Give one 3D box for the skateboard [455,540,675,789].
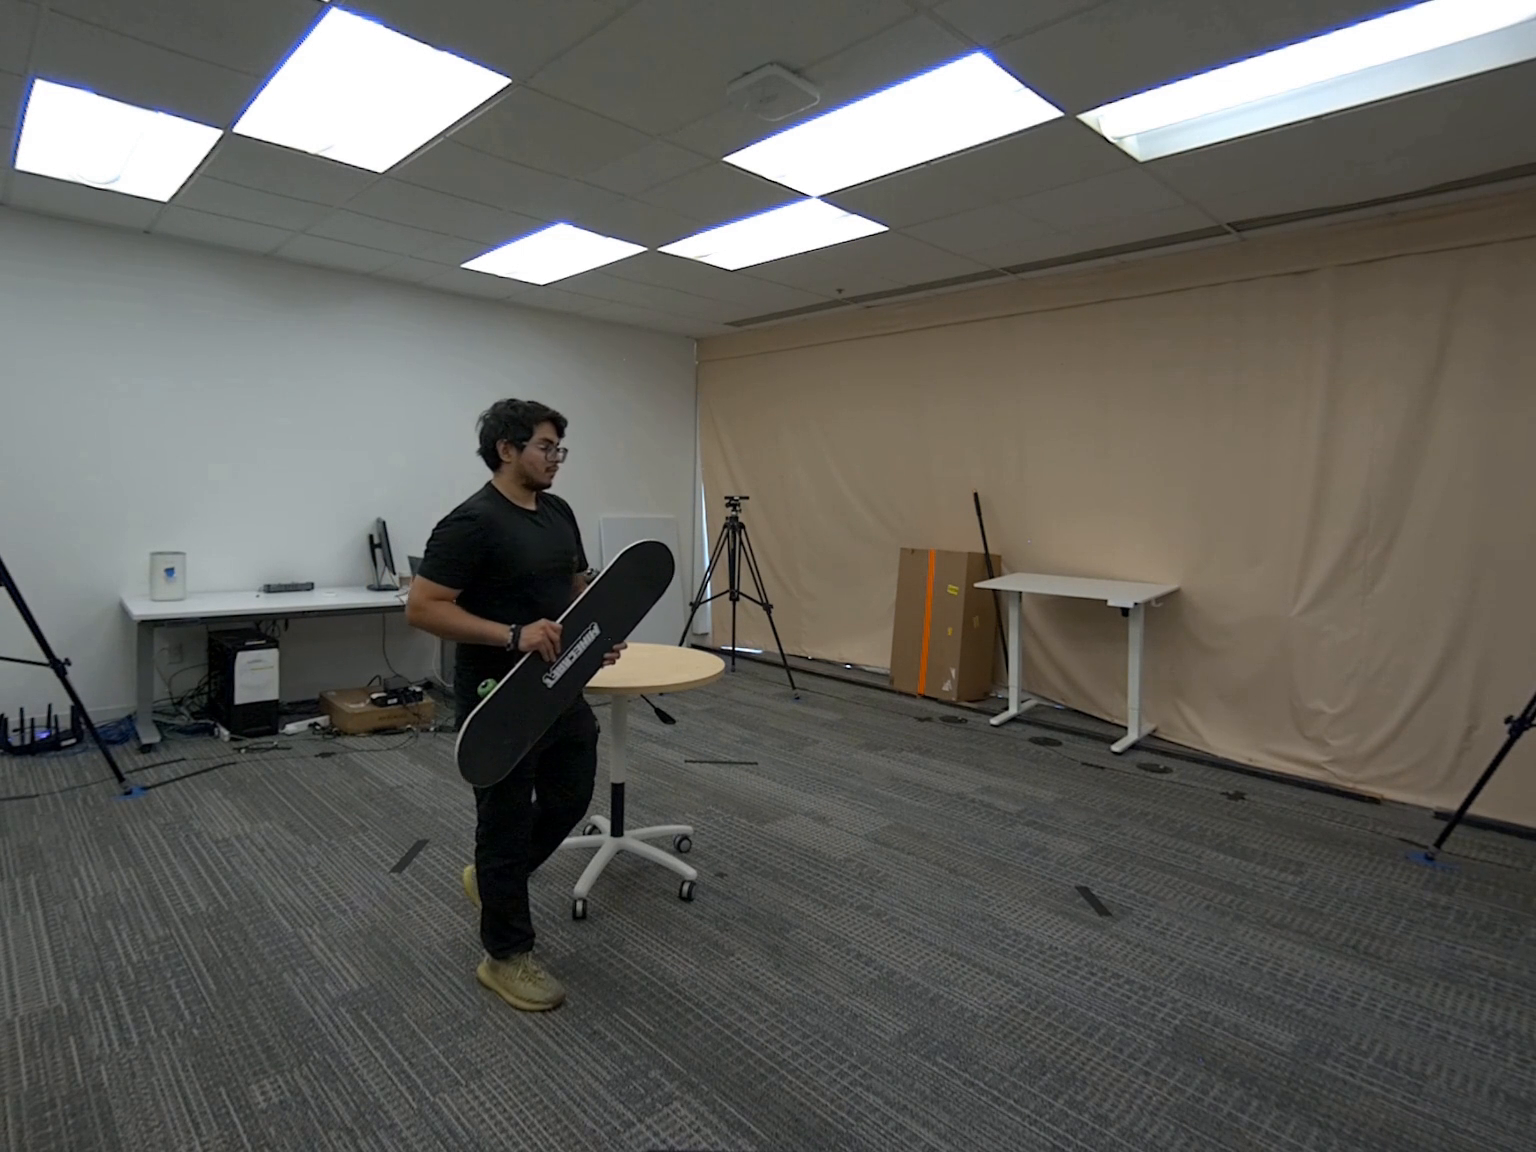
[{"bbox_3d":[-0.544,0.204,2.193,0.113,0.188,0.787,9,52,45],"label":"skateboard"}]
